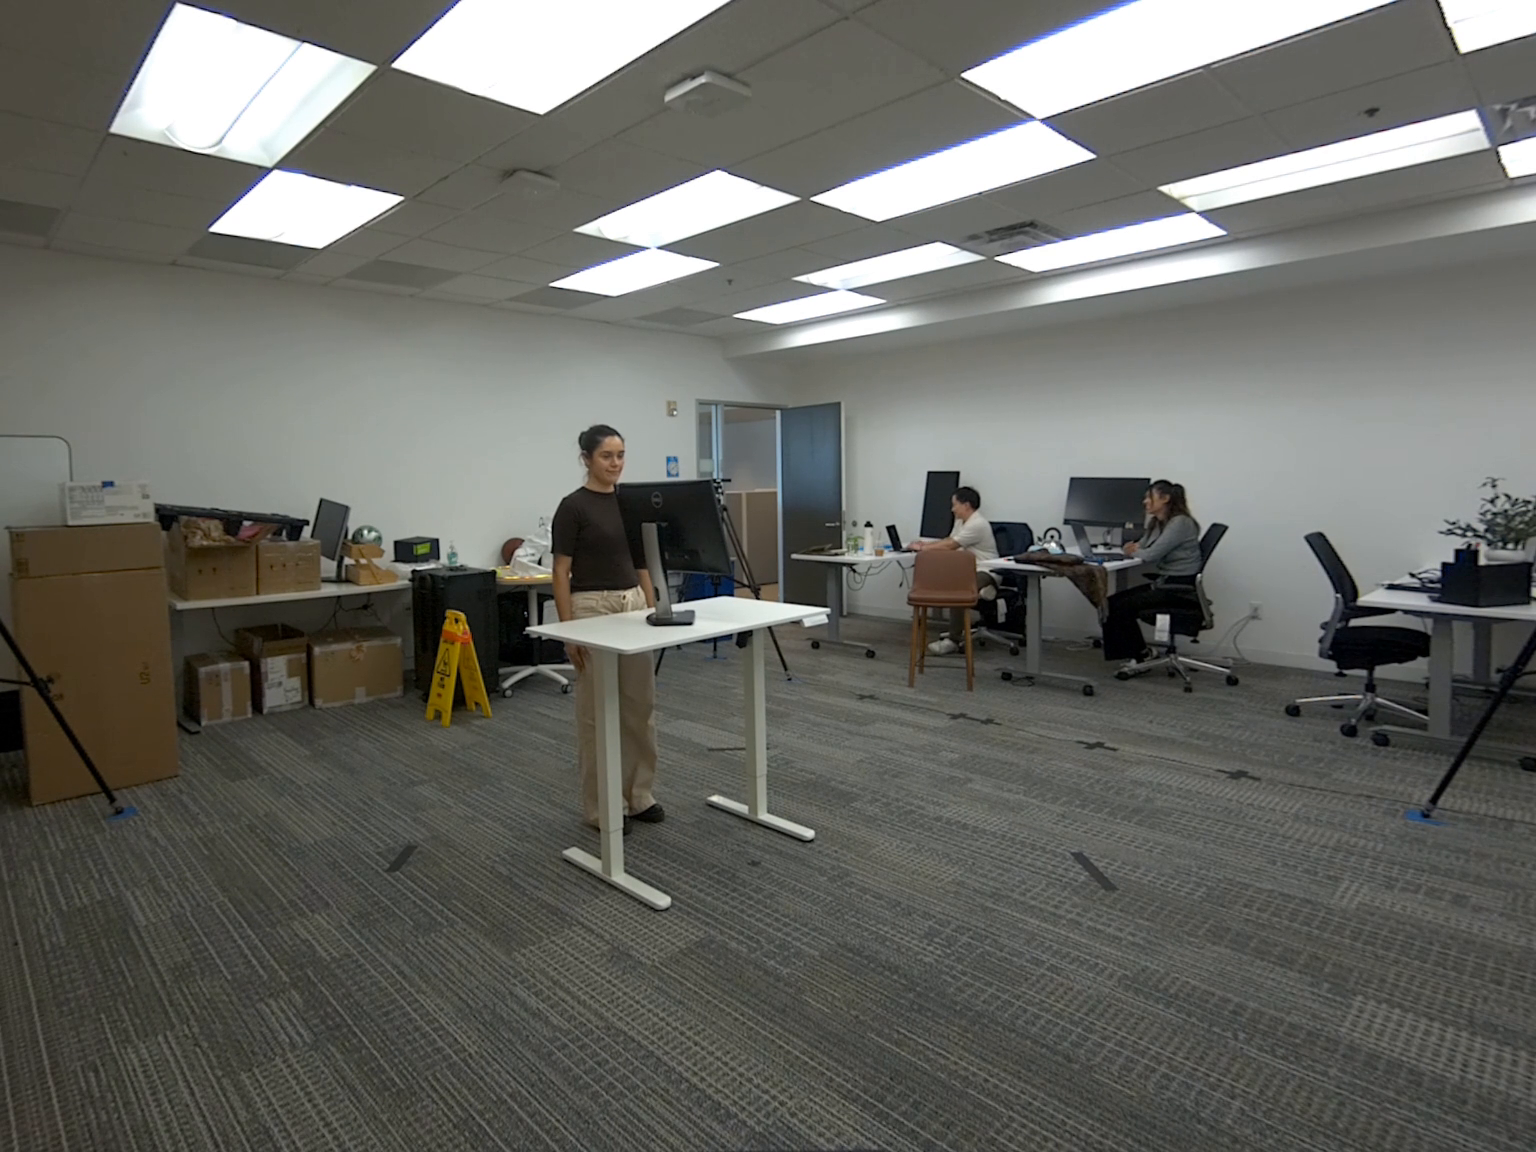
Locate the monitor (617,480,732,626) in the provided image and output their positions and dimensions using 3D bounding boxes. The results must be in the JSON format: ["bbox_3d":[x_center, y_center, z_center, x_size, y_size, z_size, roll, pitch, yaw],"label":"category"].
[{"bbox_3d":[-0.379,-0.090,3.159,0.555,0.521,0.182,1,3,39],"label":"monitor"}]
